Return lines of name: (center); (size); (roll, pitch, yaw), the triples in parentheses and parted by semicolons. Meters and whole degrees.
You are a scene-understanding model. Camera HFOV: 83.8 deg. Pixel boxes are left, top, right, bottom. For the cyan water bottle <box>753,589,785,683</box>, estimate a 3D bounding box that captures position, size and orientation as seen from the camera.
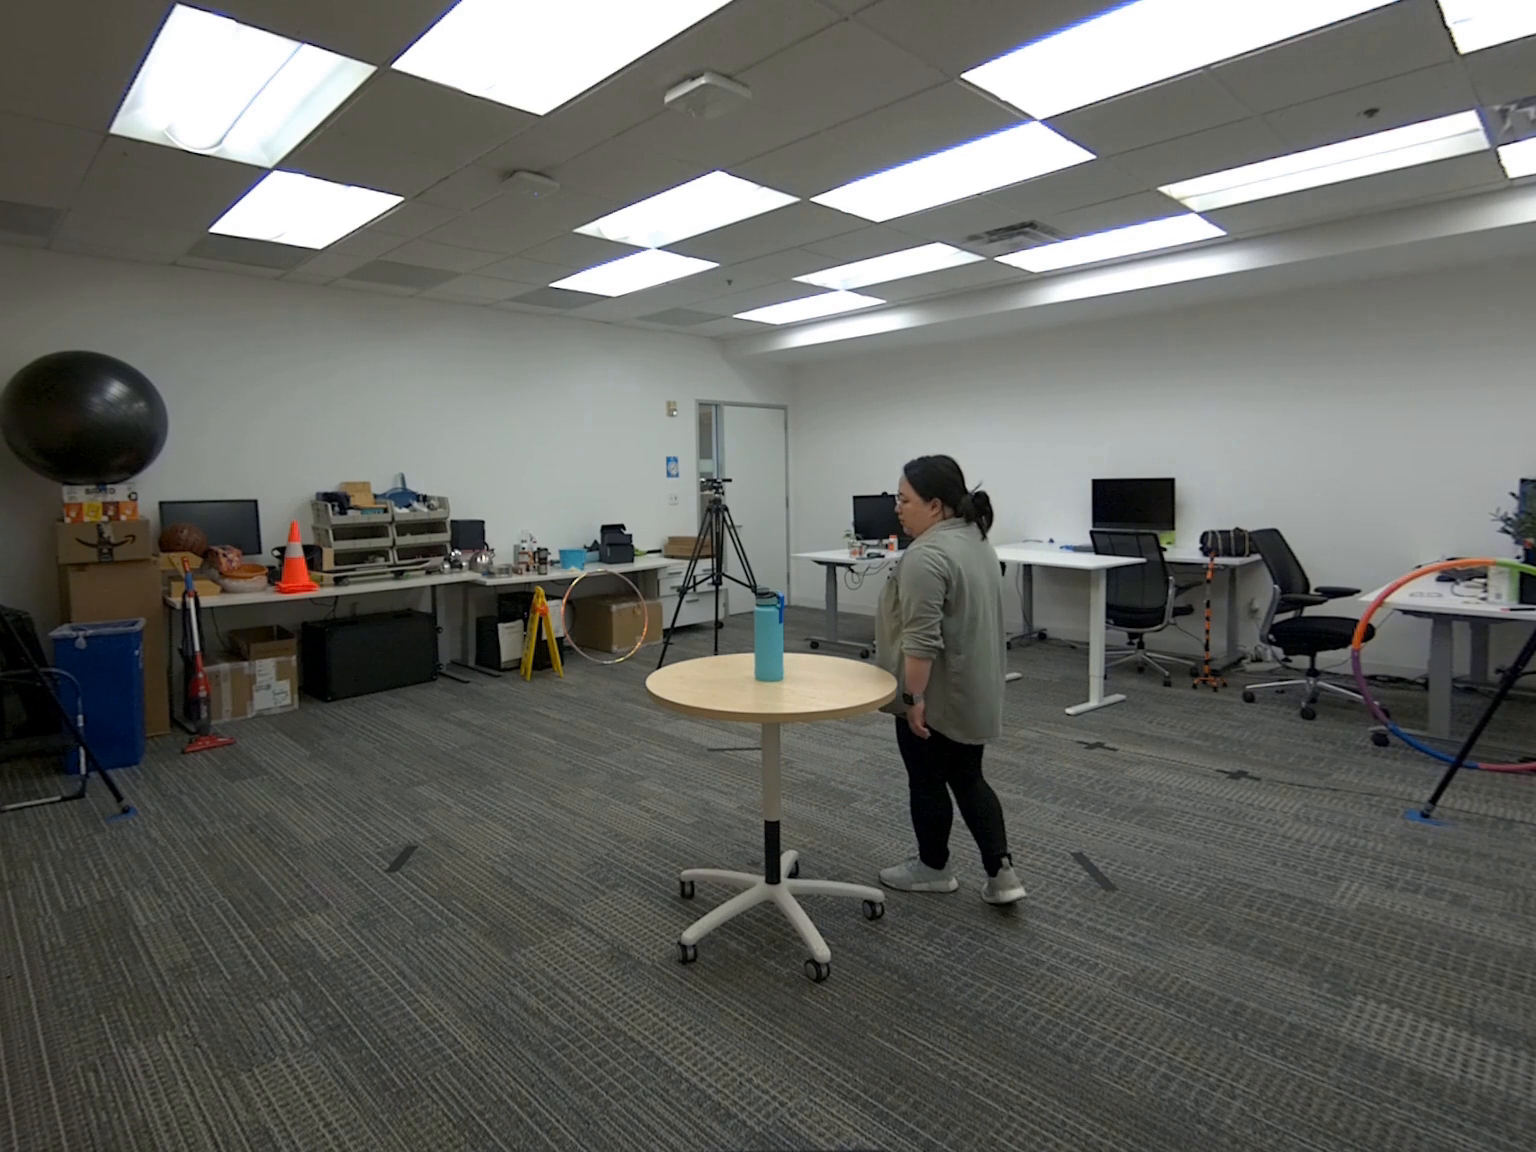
cyan water bottle: (0.014, 0.177, 2.619); (0.092, 0.283, 0.092); (1, 2, -2)
